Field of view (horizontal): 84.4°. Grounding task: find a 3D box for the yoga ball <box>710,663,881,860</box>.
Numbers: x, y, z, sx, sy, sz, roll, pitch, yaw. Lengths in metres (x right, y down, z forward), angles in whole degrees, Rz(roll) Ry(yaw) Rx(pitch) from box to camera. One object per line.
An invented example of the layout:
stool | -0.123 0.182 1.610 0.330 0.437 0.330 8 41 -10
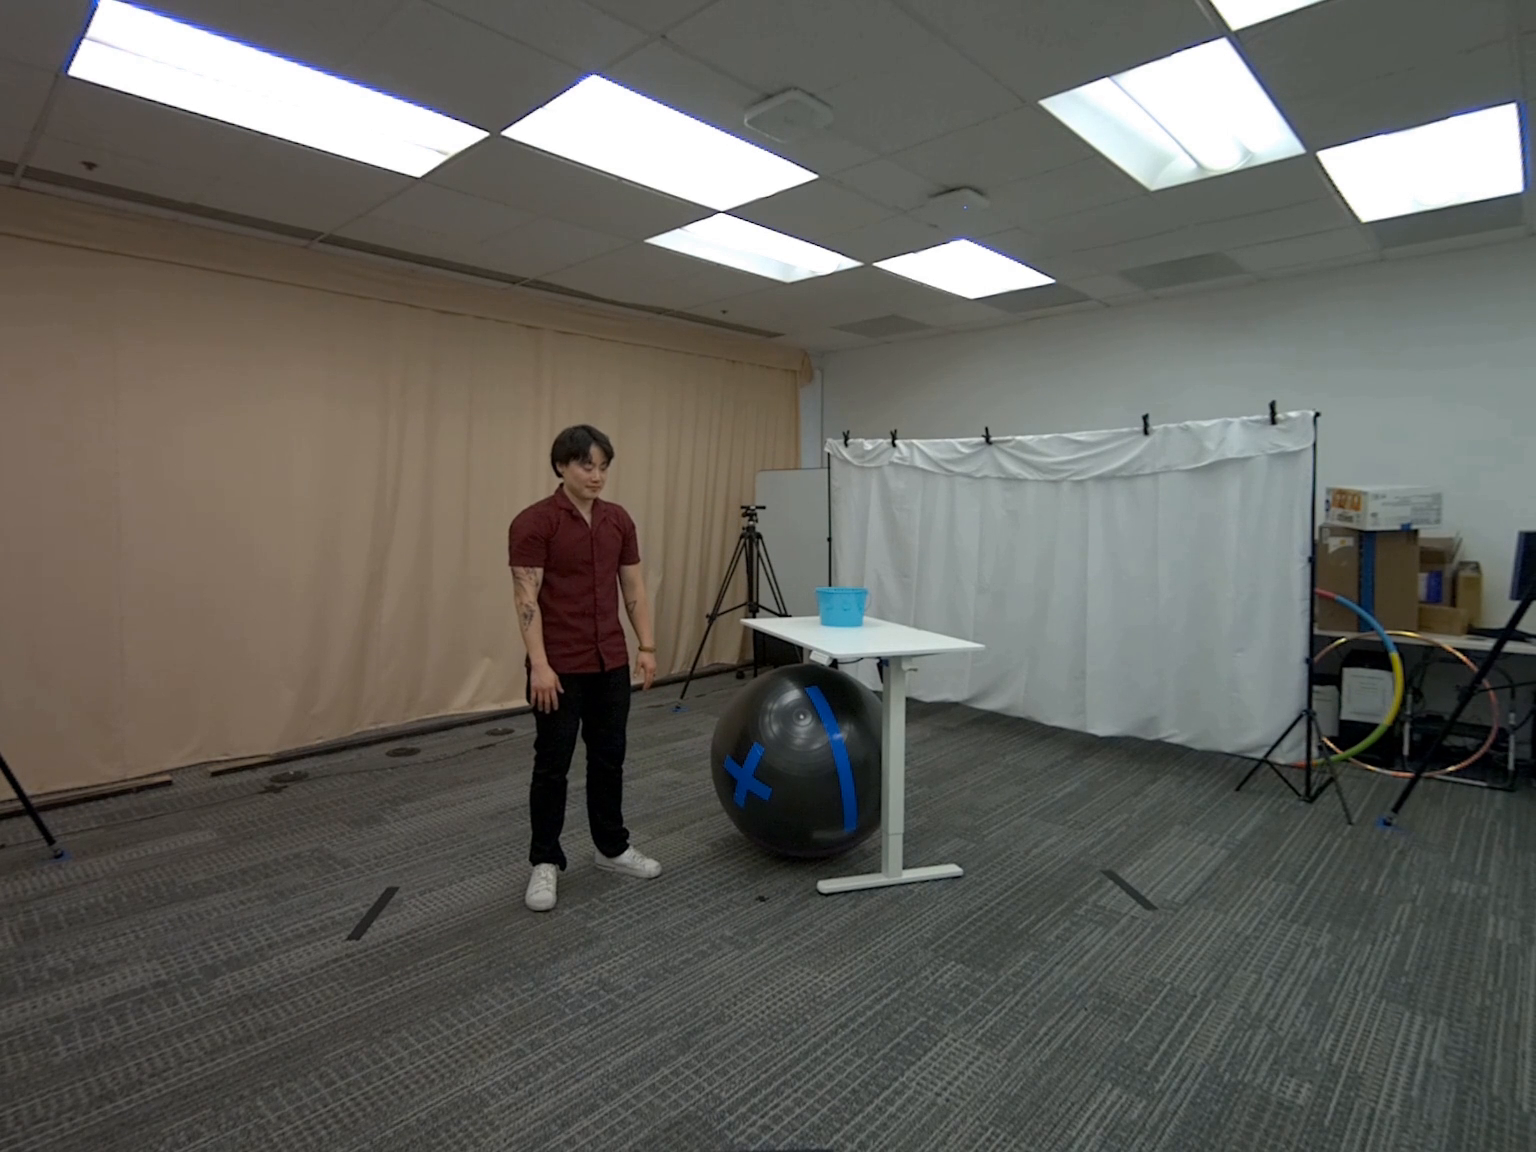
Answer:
yoga ball | 0.152 0.737 3.379 0.757 0.756 0.760 0 4 -2
